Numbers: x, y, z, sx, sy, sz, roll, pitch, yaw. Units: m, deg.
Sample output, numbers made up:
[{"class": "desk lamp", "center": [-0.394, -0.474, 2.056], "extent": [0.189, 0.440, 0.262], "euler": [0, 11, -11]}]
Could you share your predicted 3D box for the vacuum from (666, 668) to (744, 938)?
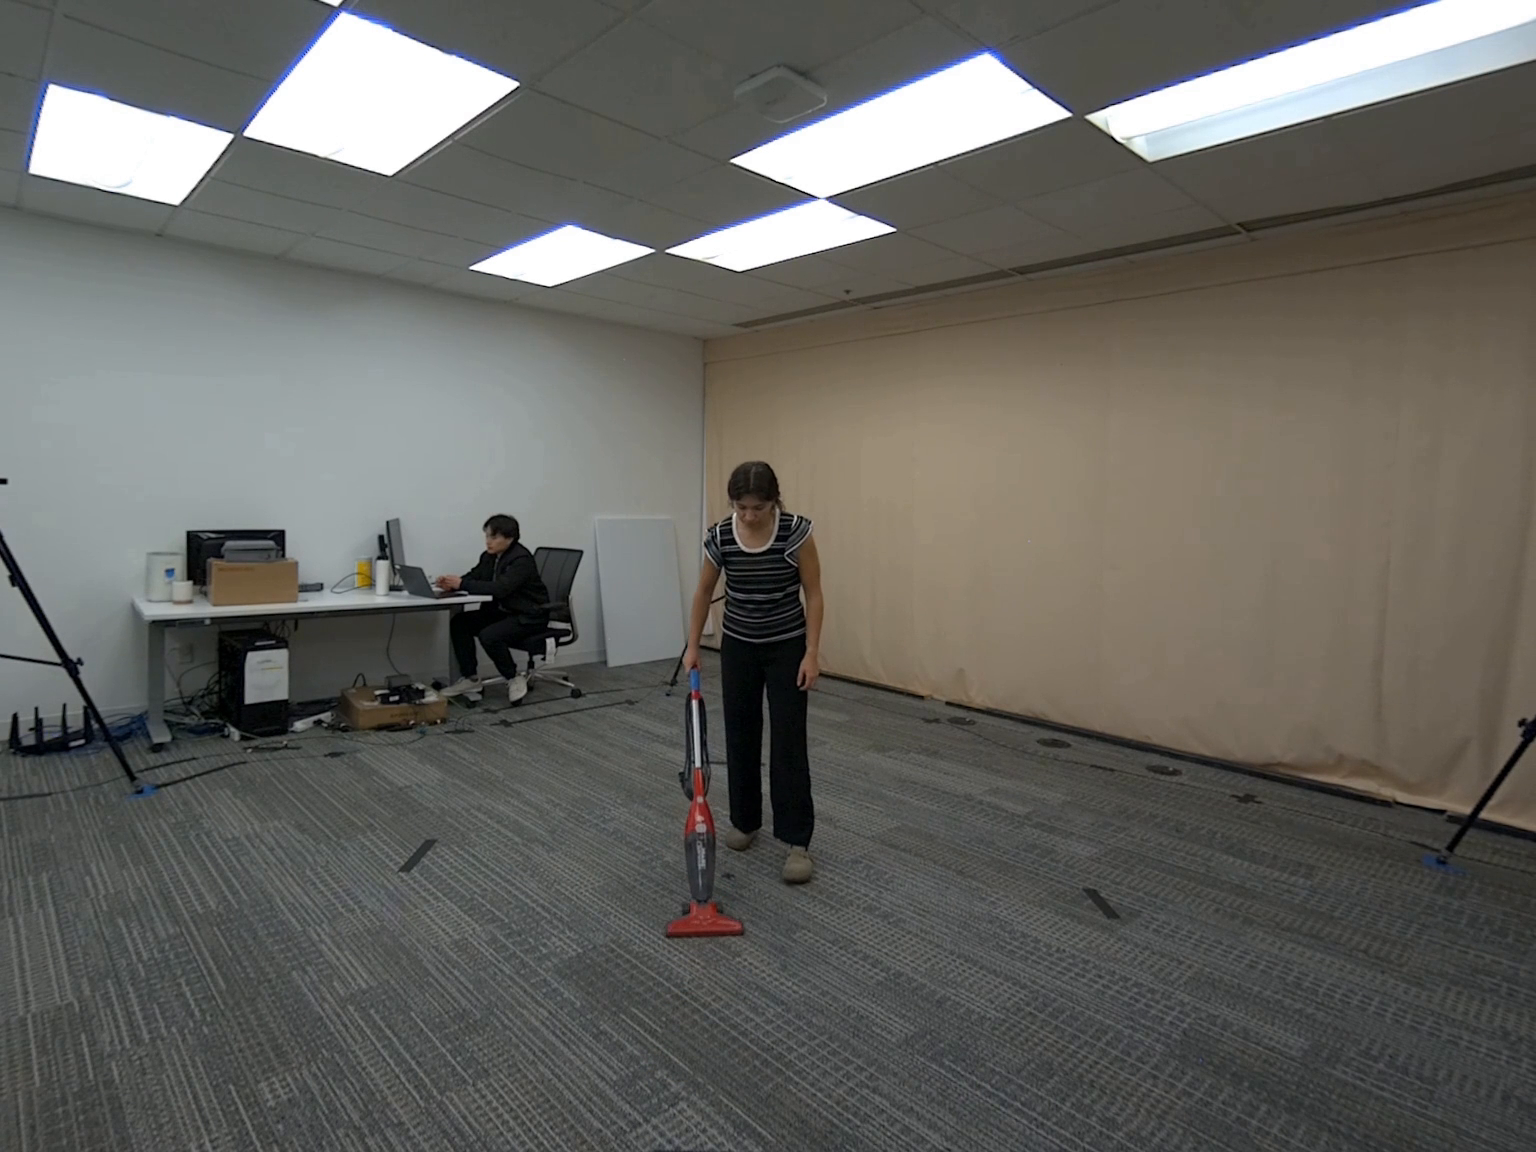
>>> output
[{"class": "vacuum", "center": [-0.270, 0.738, 3.089], "extent": [0.251, 0.141, 1.076], "euler": [-3, 47, -7]}]
